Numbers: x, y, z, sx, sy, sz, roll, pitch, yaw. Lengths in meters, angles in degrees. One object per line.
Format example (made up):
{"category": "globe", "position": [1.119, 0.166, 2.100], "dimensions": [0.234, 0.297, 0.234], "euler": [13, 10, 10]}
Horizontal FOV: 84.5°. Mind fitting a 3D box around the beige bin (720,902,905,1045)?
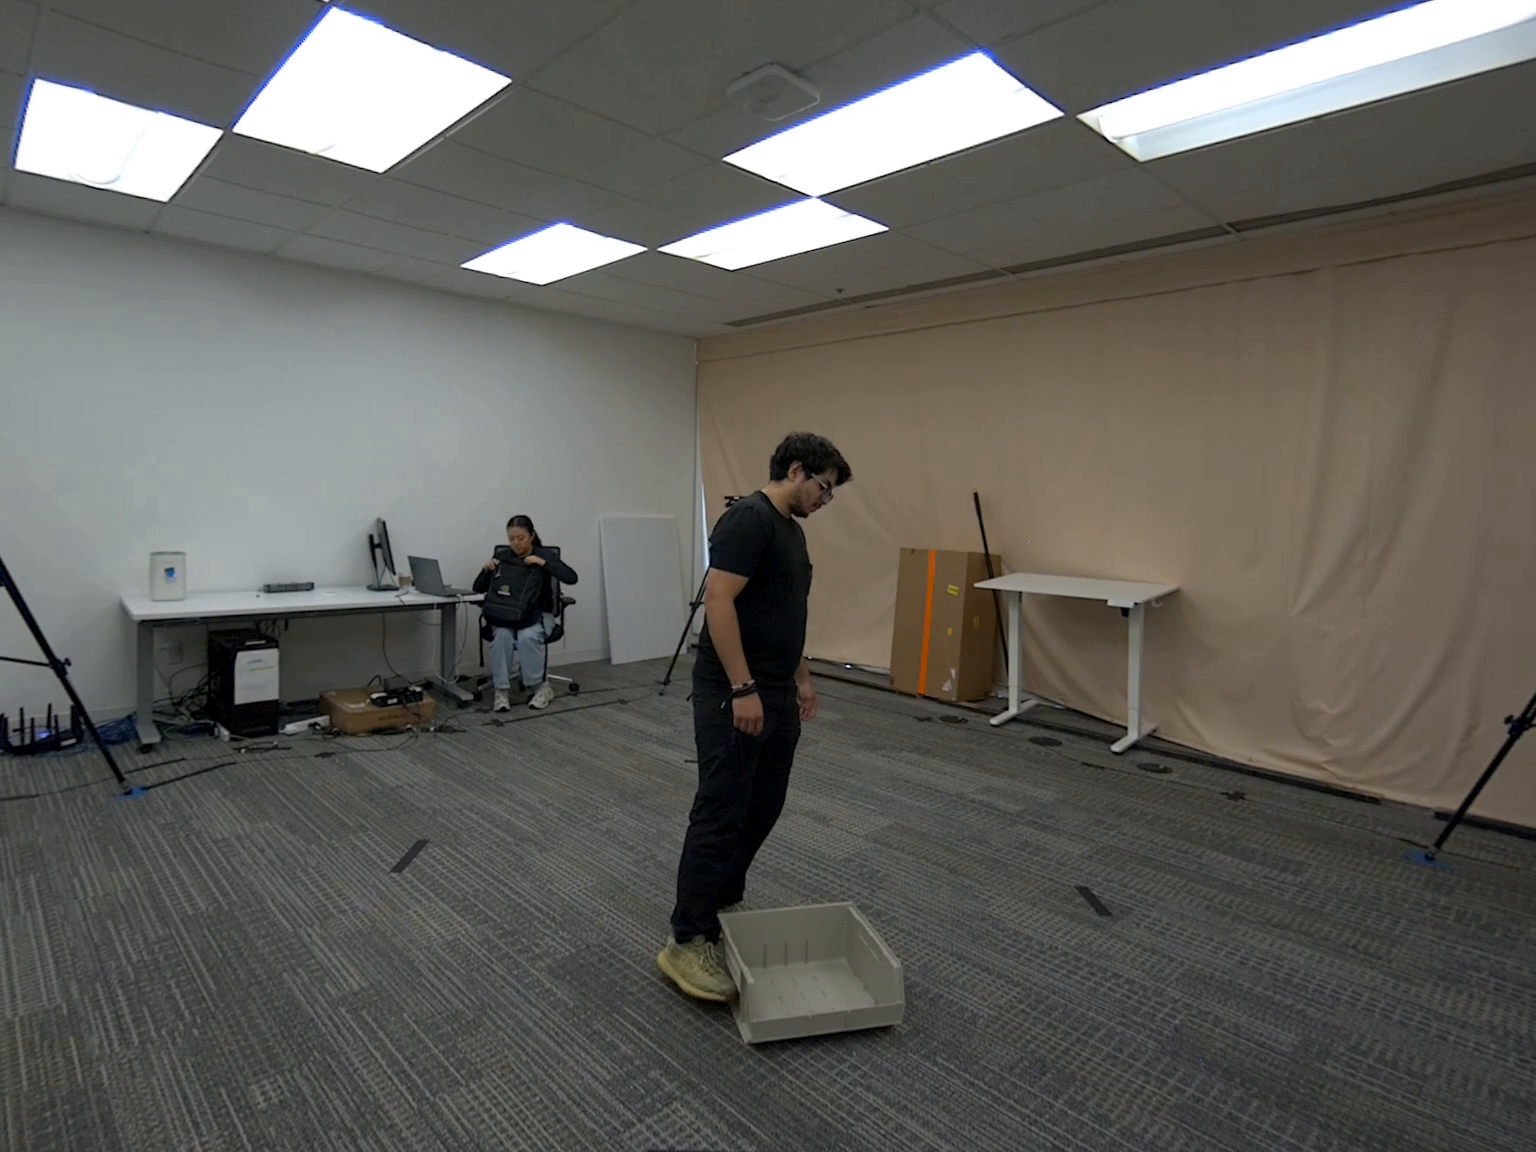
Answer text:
{"category": "beige bin", "position": [0.104, 1.104, 2.299], "dimensions": [0.417, 0.188, 0.382], "euler": [-1, 4, -15]}
